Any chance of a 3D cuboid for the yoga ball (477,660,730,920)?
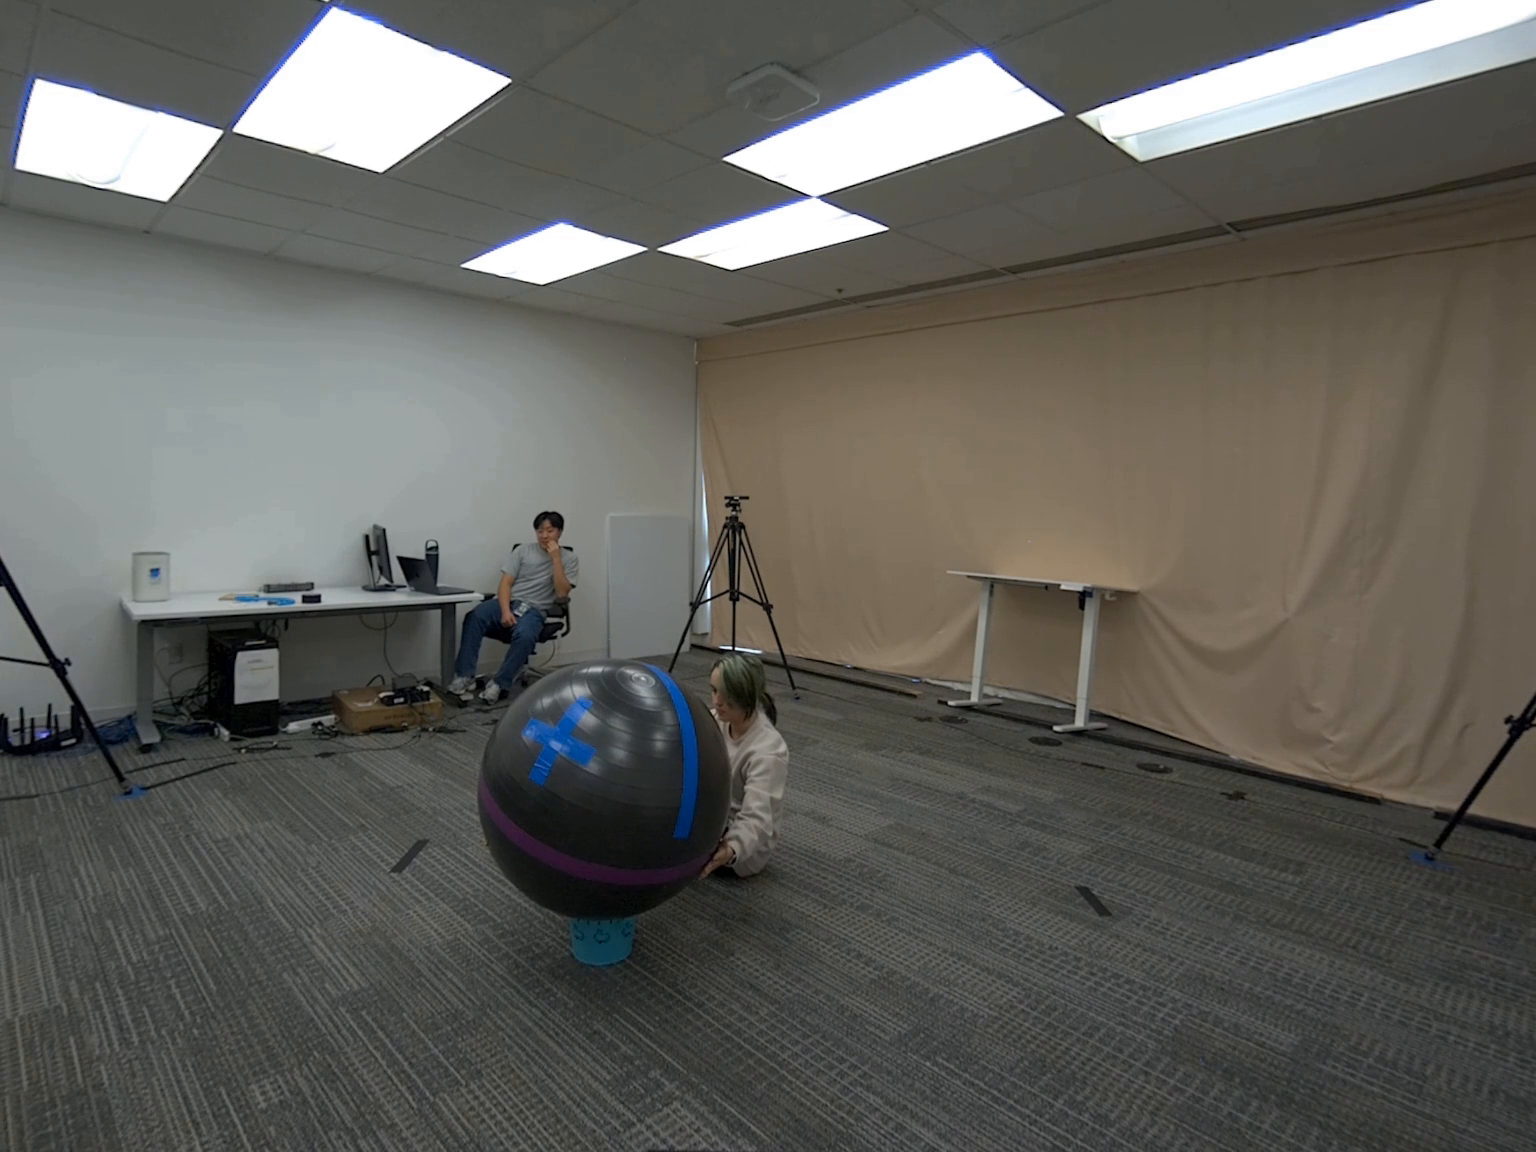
[{"bbox_3d":[-0.488,0.643,2.547,0.757,0.756,0.761,1,4,-1],"label":"yoga ball"}]
